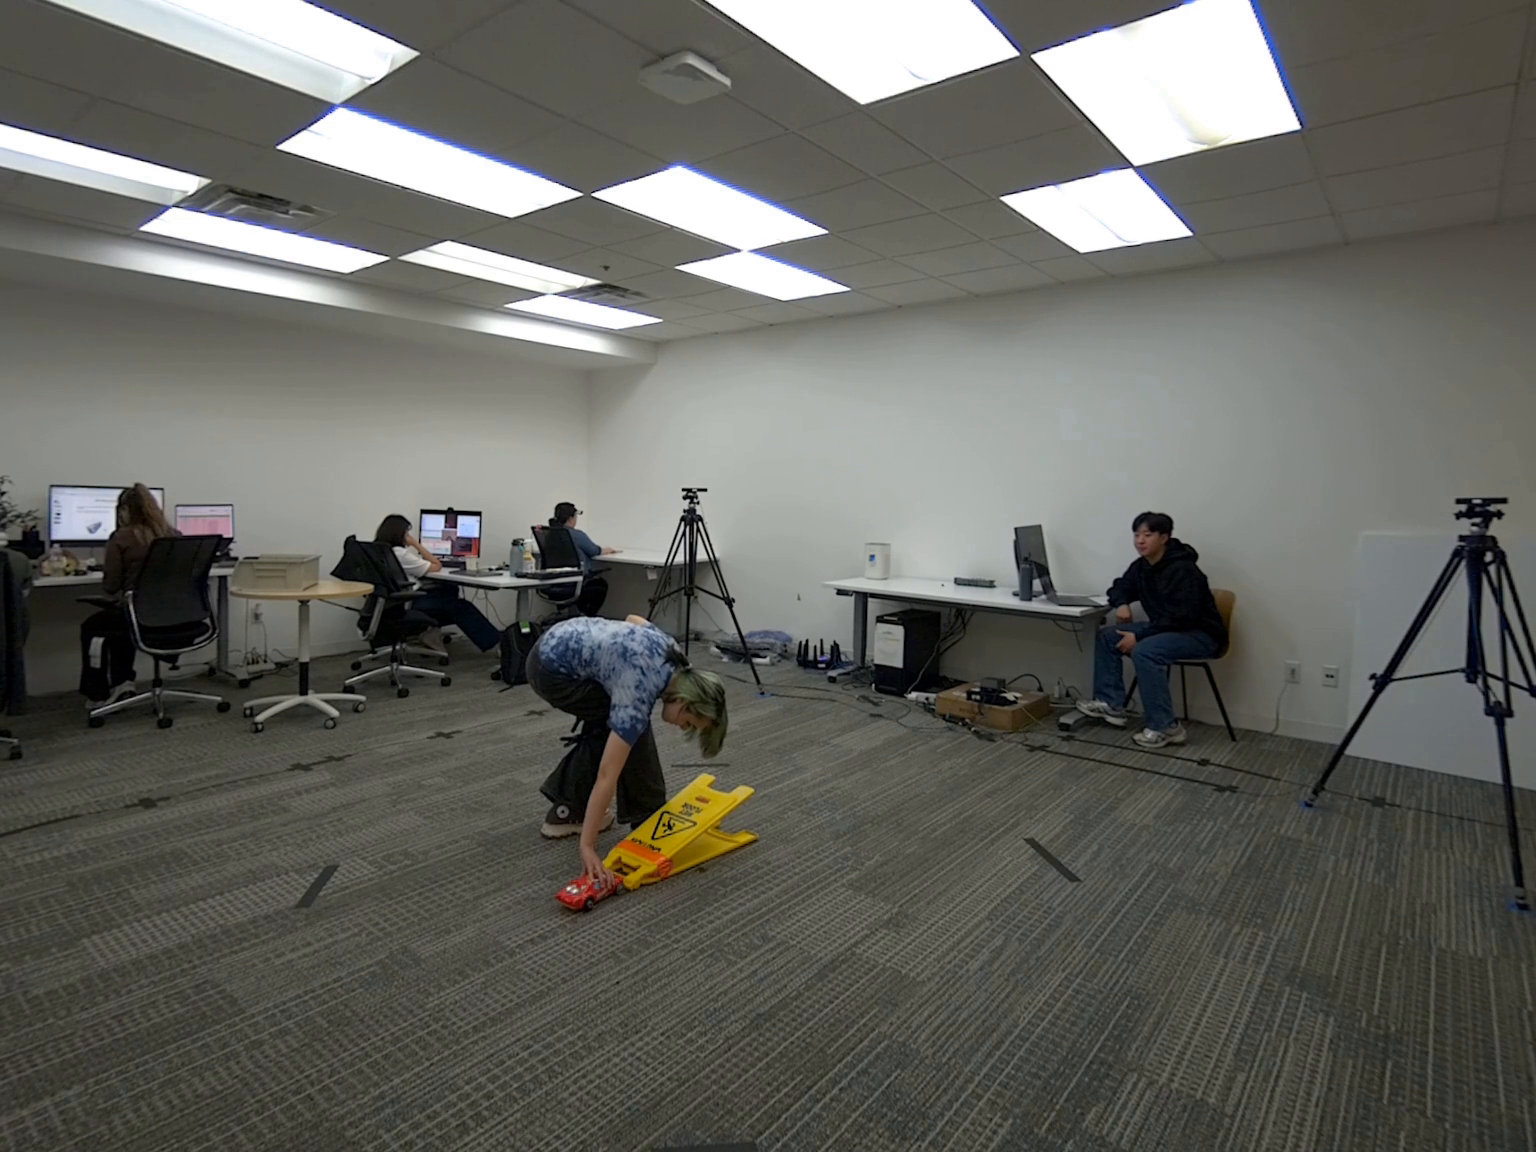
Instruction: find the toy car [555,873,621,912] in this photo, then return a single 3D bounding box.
[{"bbox_3d":[-0.618,1.058,2.855,0.134,0.083,0.245,5,-6,38],"label":"toy car"}]
